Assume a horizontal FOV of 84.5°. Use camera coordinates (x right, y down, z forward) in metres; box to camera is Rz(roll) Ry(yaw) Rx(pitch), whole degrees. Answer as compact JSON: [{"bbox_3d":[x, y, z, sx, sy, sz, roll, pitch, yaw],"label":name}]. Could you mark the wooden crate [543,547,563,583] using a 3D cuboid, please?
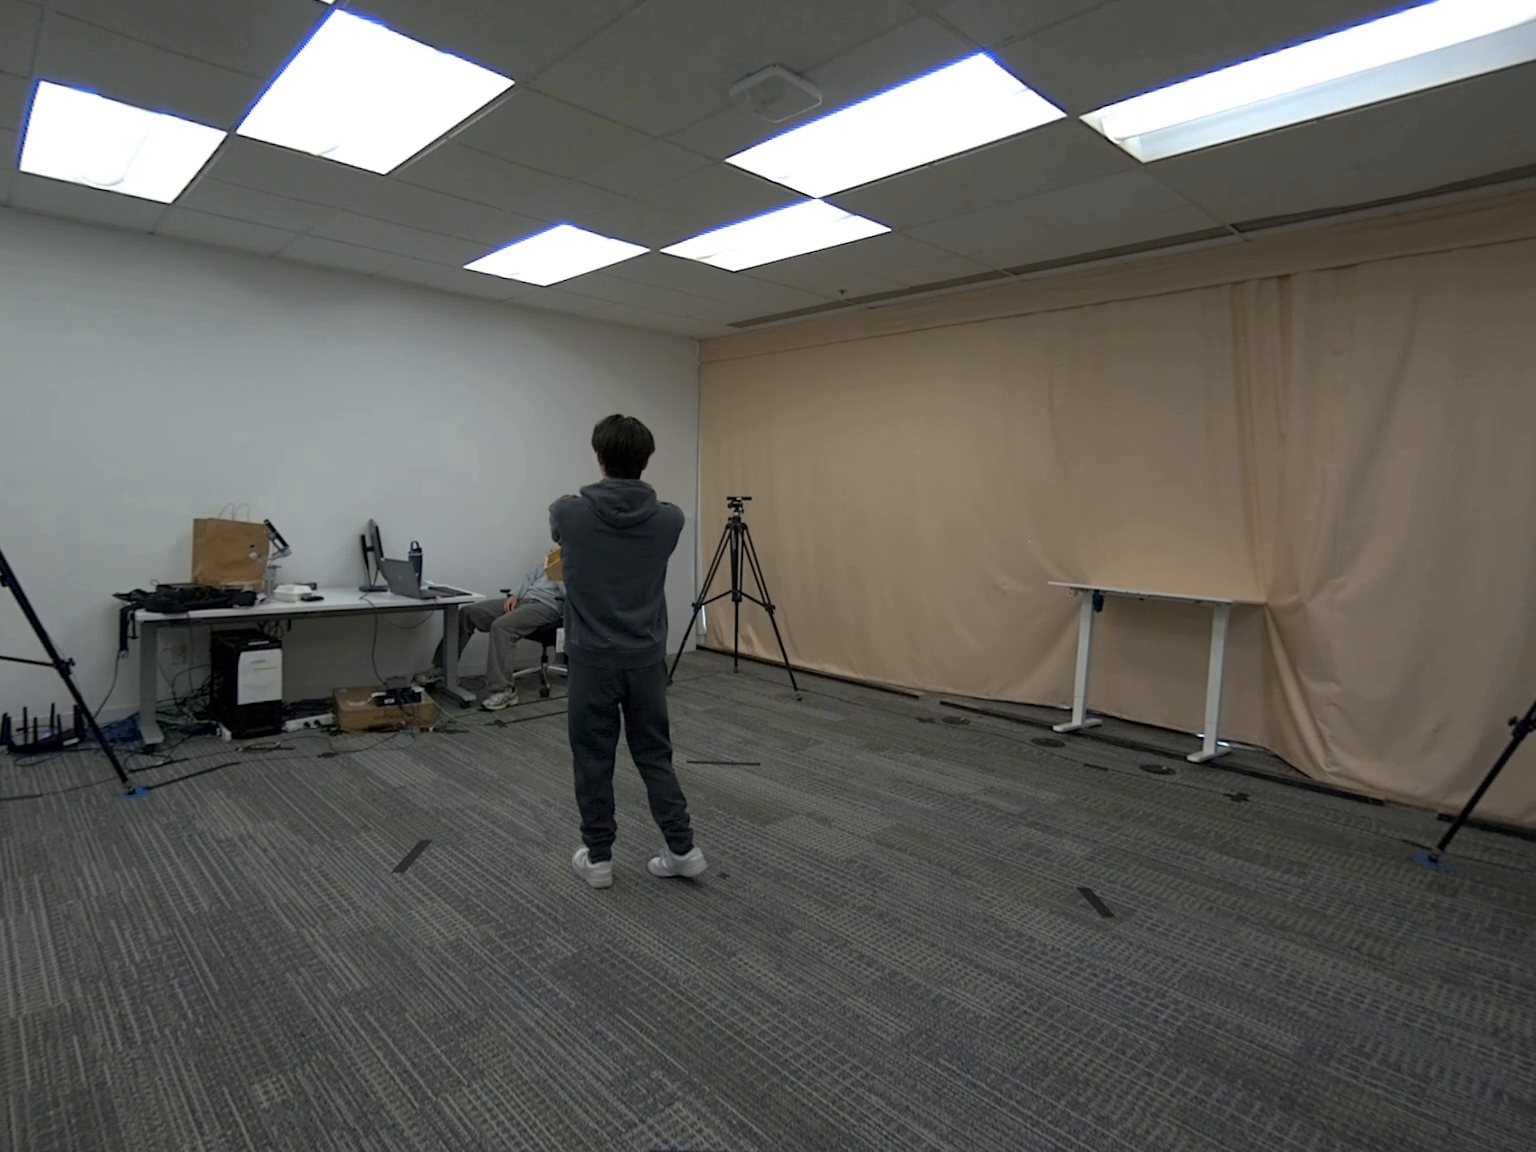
[{"bbox_3d":[-0.763,-0.134,3.518,0.299,0.272,0.329,4,8,-12],"label":"wooden crate"}]
